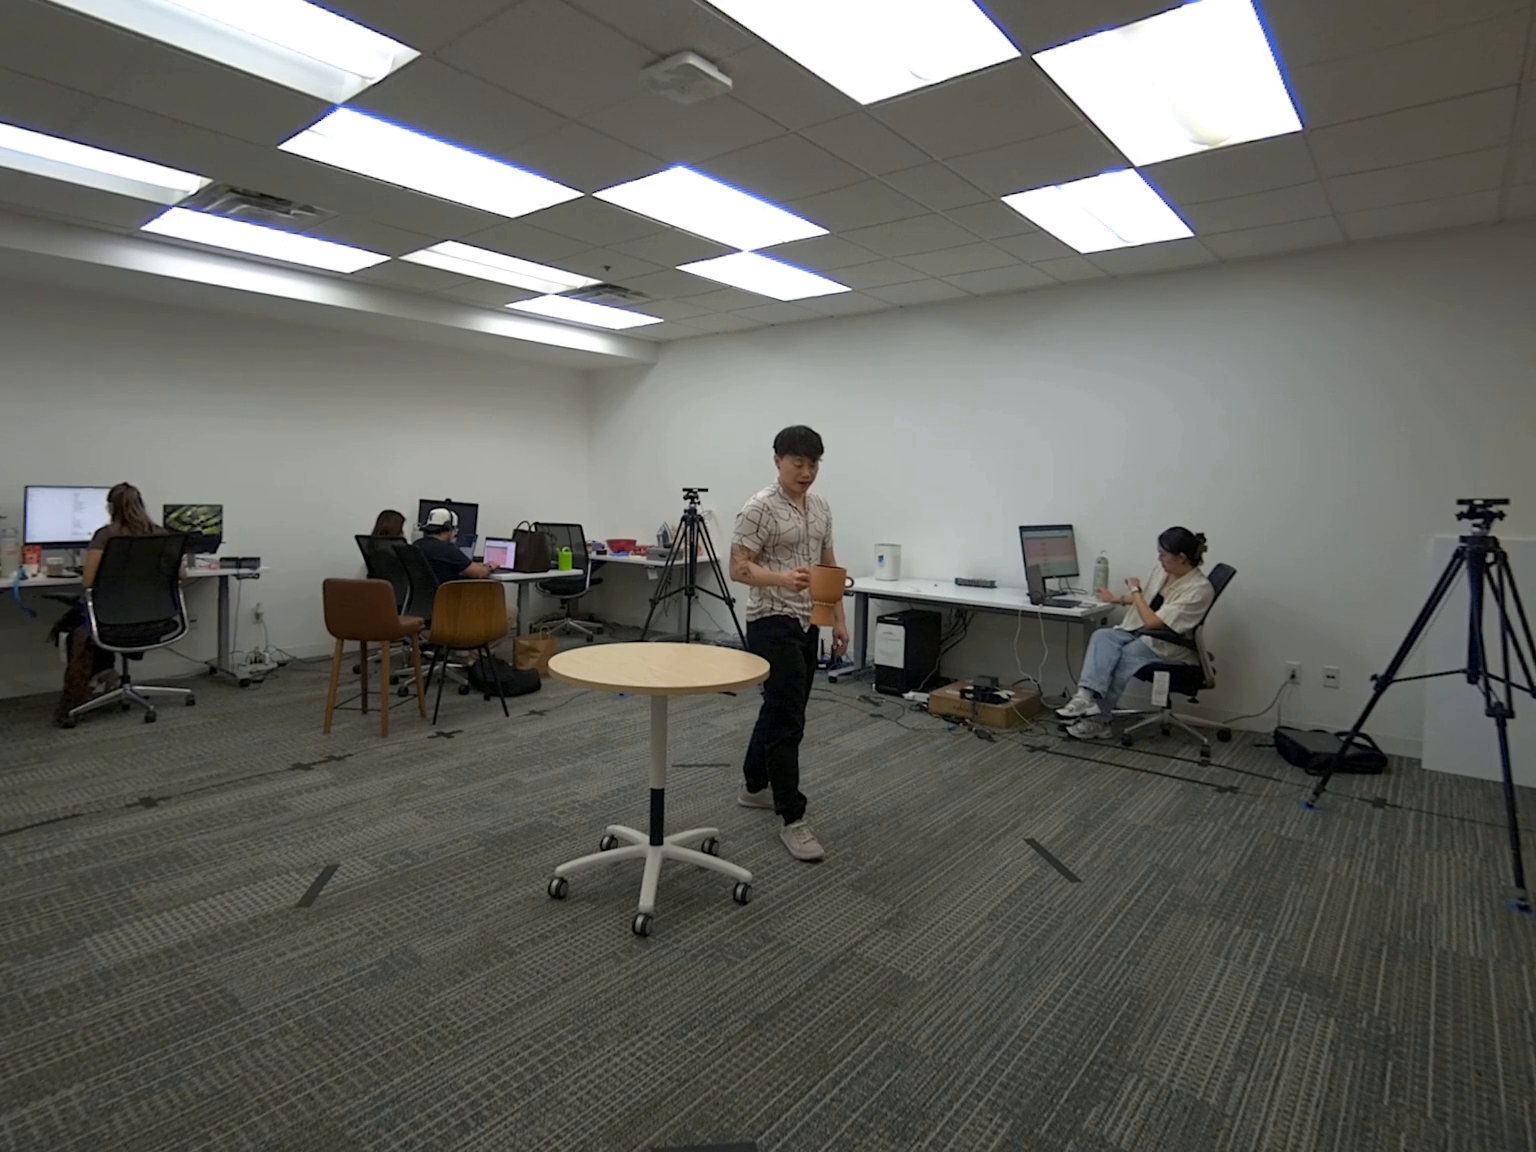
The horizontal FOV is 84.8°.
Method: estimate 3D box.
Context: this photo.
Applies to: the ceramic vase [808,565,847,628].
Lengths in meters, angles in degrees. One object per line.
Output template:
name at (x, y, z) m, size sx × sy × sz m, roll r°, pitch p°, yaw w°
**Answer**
ceramic vase at (0.207, 0.065, 3.223) m, size 0.165 × 0.219 × 0.130 m, roll 13°, pitch 8°, yaw 43°
